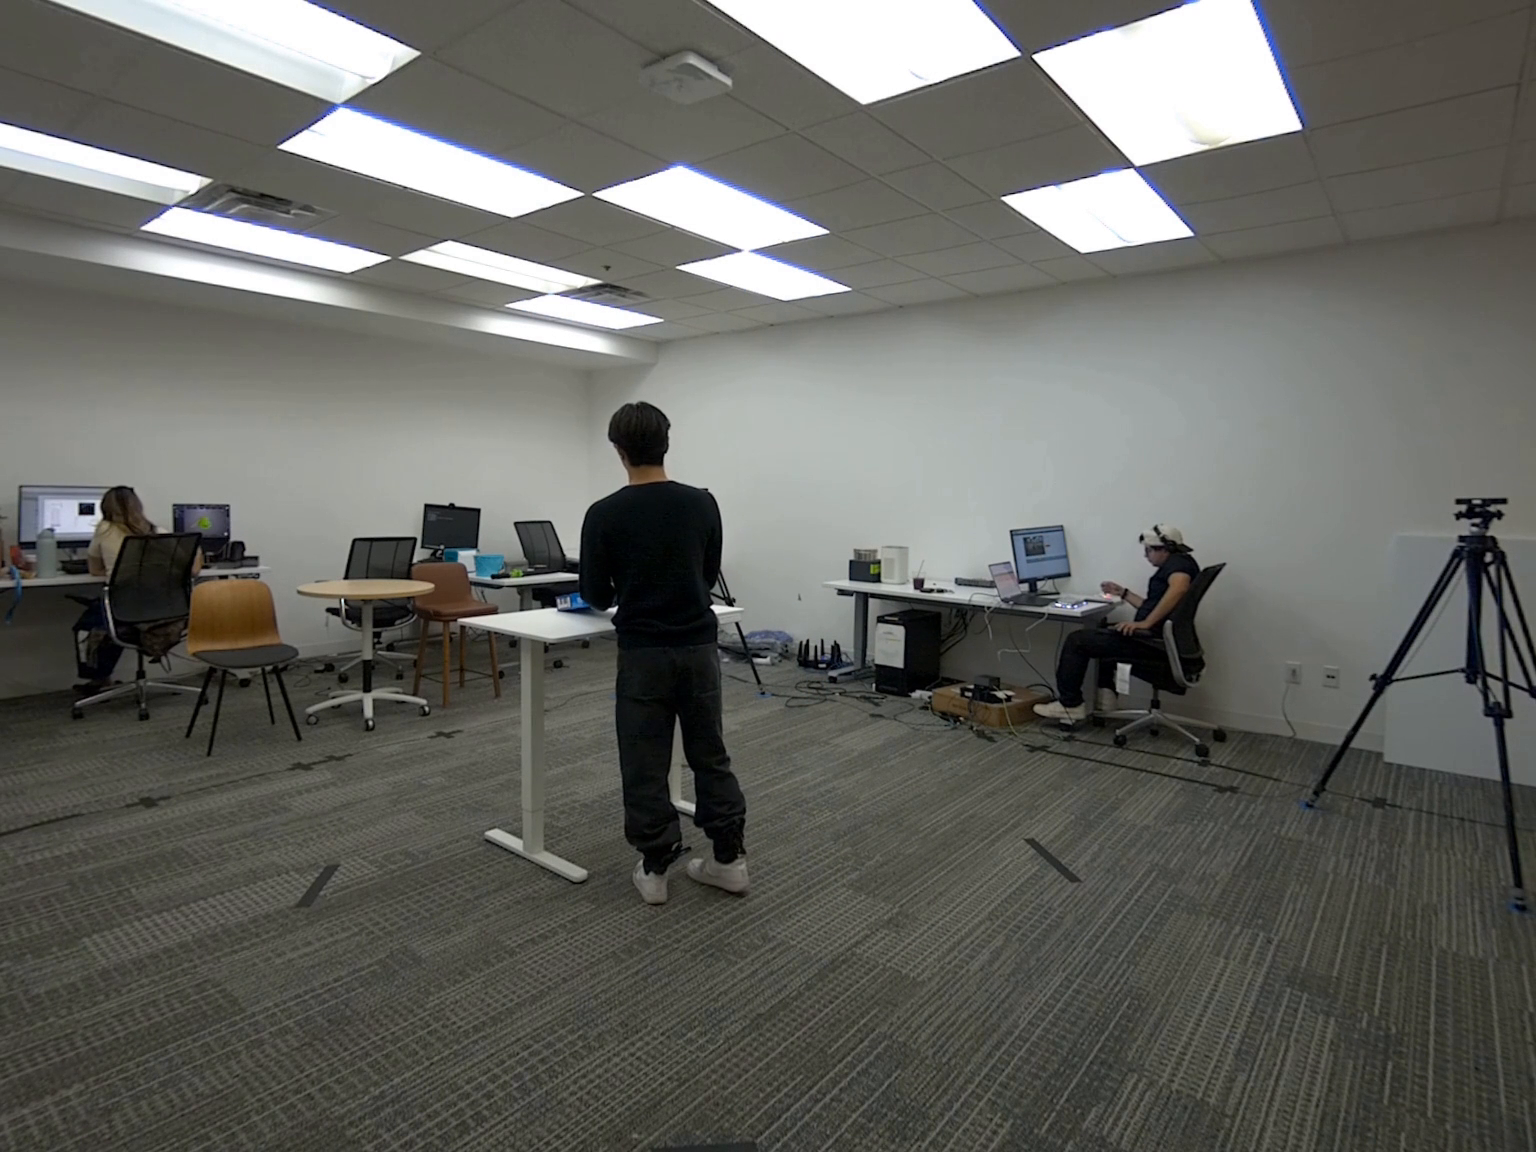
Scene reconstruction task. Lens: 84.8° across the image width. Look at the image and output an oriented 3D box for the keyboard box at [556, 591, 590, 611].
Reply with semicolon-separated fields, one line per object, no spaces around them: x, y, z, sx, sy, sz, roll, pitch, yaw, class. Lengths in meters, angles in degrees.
-0.660;0.080;3.380;0.171;0.059;0.448;-5;-3;-44;keyboard box
